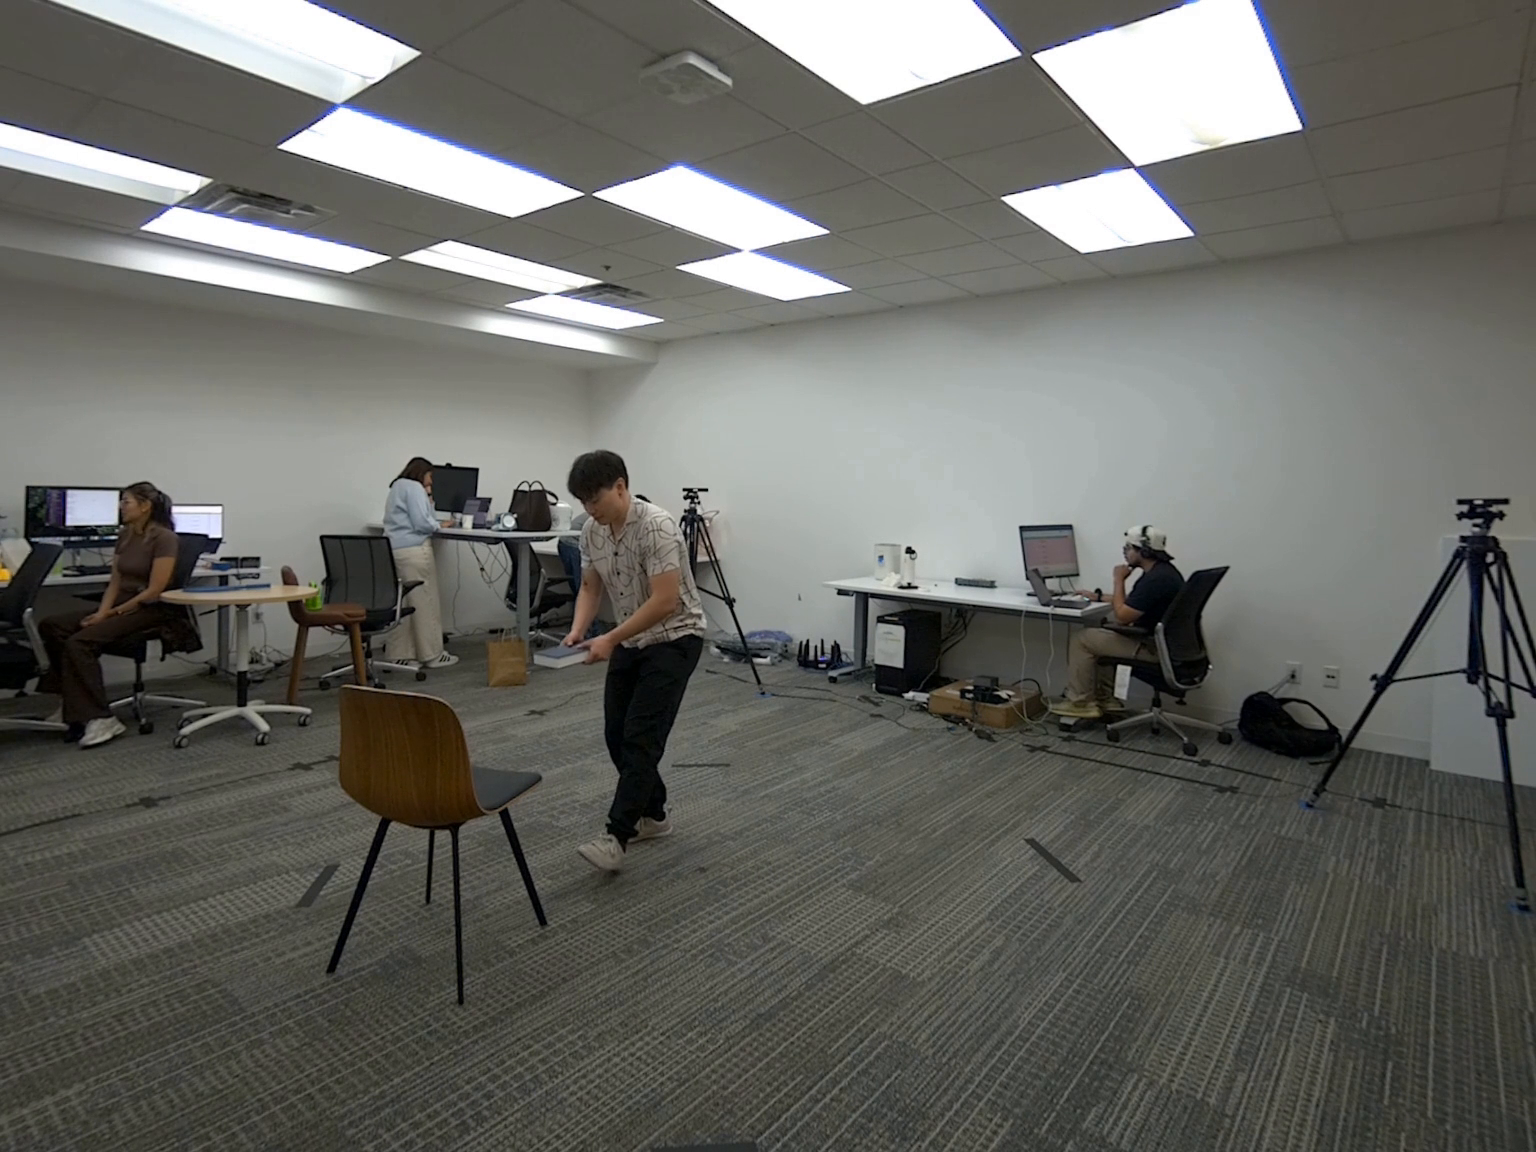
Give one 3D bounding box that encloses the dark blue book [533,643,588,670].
[{"bbox_3d":[-0.739,0.284,3.102,0.238,0.045,0.169,-8,7,-44],"label":"dark blue book"}]
